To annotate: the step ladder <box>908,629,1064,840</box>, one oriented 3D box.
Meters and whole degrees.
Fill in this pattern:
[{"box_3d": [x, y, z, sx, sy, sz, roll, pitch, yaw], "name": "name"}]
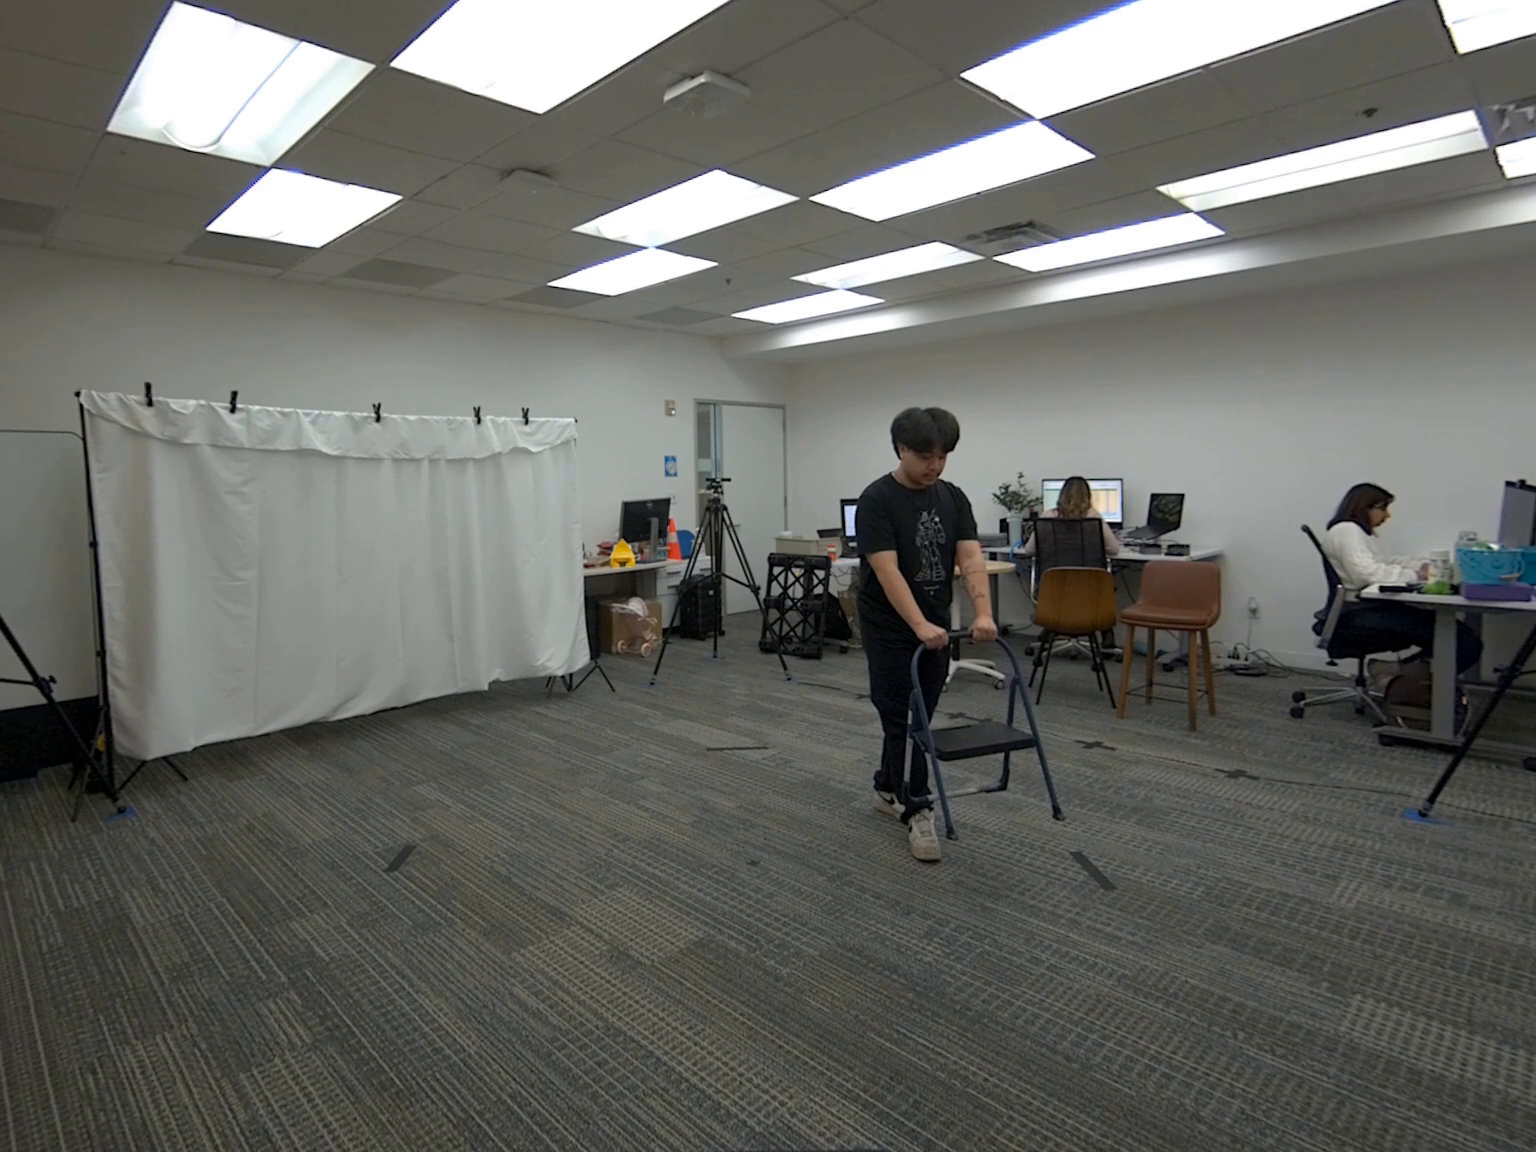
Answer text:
[{"box_3d": [0.706, 0.511, 2.906, 0.424, 0.605, 0.355, -5, 2, -17], "name": "step ladder"}]
